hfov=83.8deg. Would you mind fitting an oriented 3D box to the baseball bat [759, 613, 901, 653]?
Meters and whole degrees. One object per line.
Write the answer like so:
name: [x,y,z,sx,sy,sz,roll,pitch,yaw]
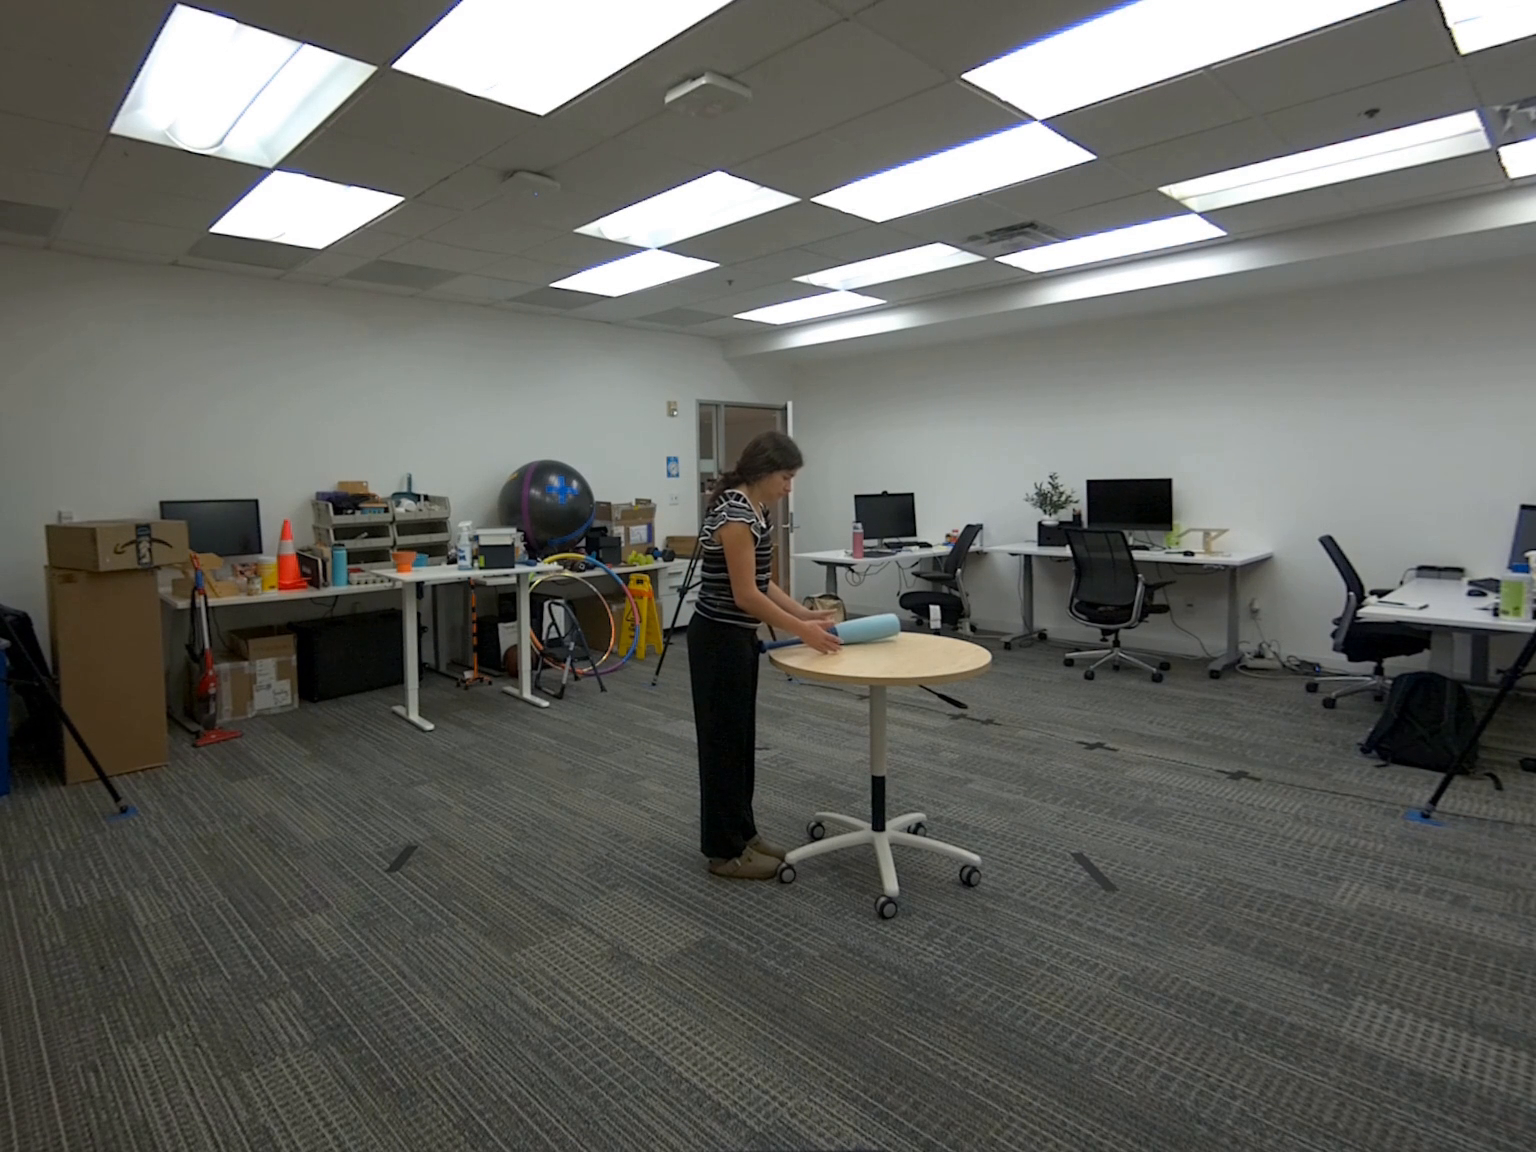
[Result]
baseball bat: [0.221,0.218,3.119,0.538,0.088,0.090,-8,6,-11]
